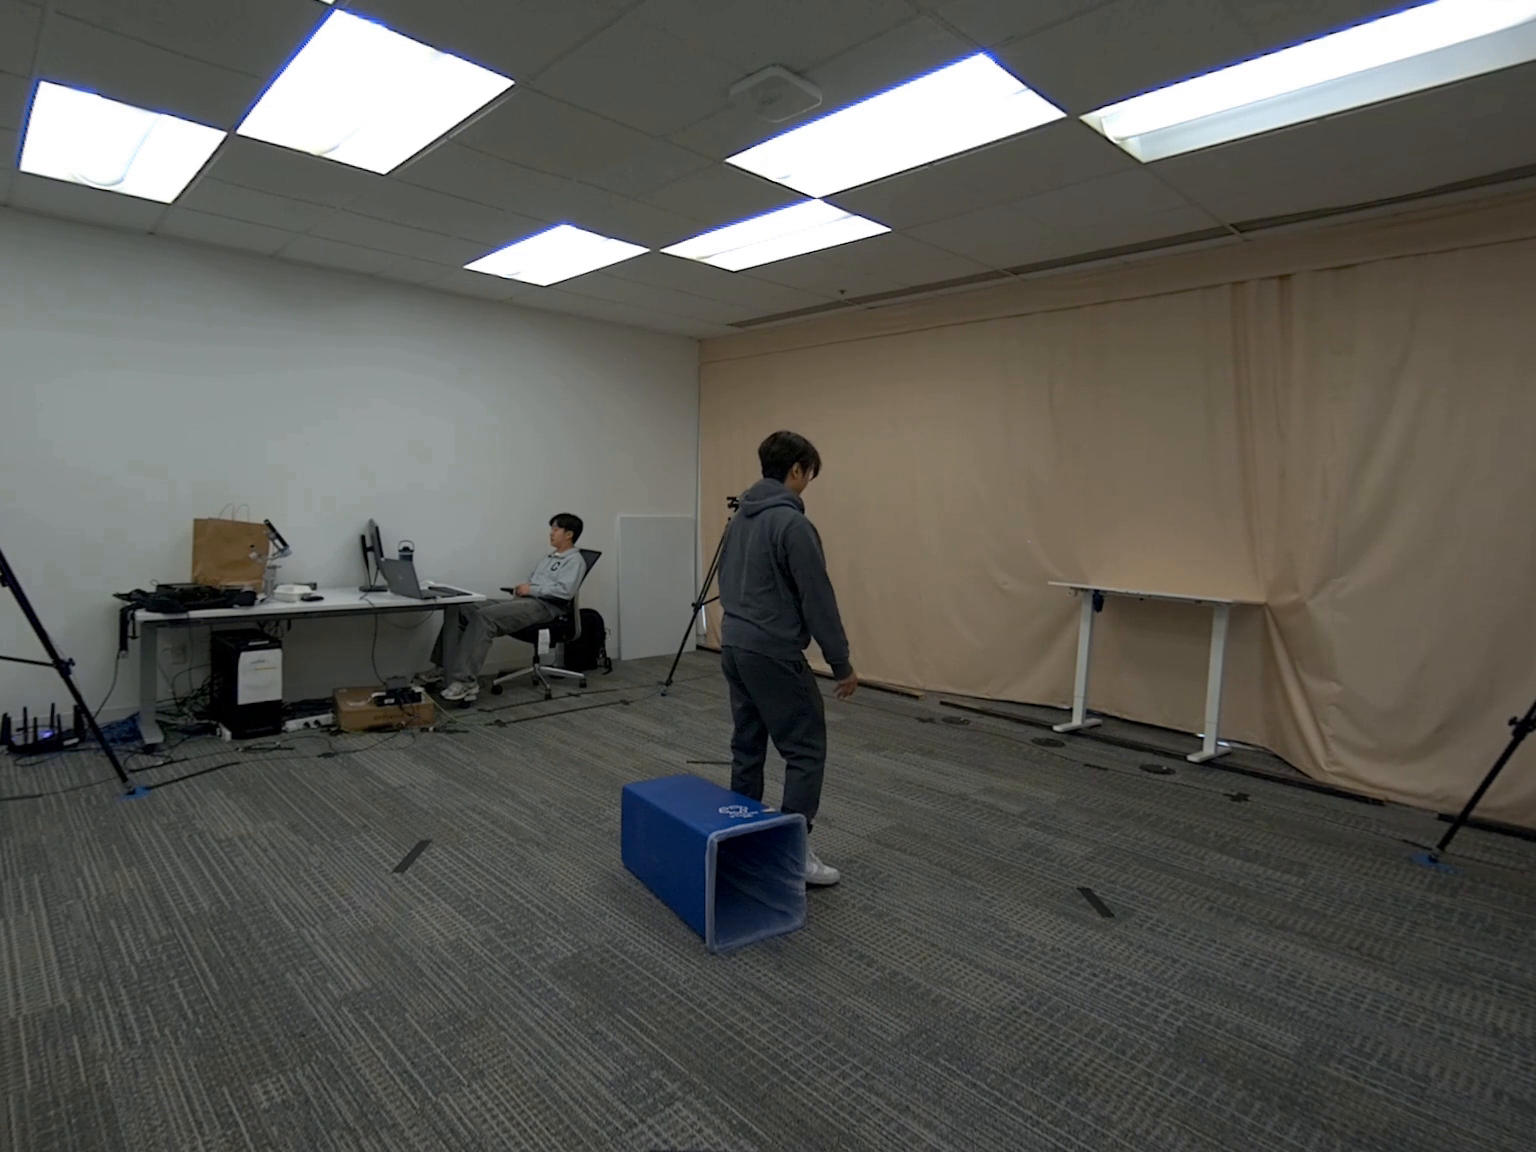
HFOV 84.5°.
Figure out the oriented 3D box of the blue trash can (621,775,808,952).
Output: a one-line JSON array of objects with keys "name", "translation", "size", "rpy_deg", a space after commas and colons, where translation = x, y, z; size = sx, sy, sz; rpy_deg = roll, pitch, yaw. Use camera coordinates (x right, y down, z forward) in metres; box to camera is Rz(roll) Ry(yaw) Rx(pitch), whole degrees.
[{"name": "blue trash can", "translation": [-0.237, 0.950, 2.937], "size": [0.366, 0.378, 0.730], "rpy_deg": [-1, 3, -34]}]
